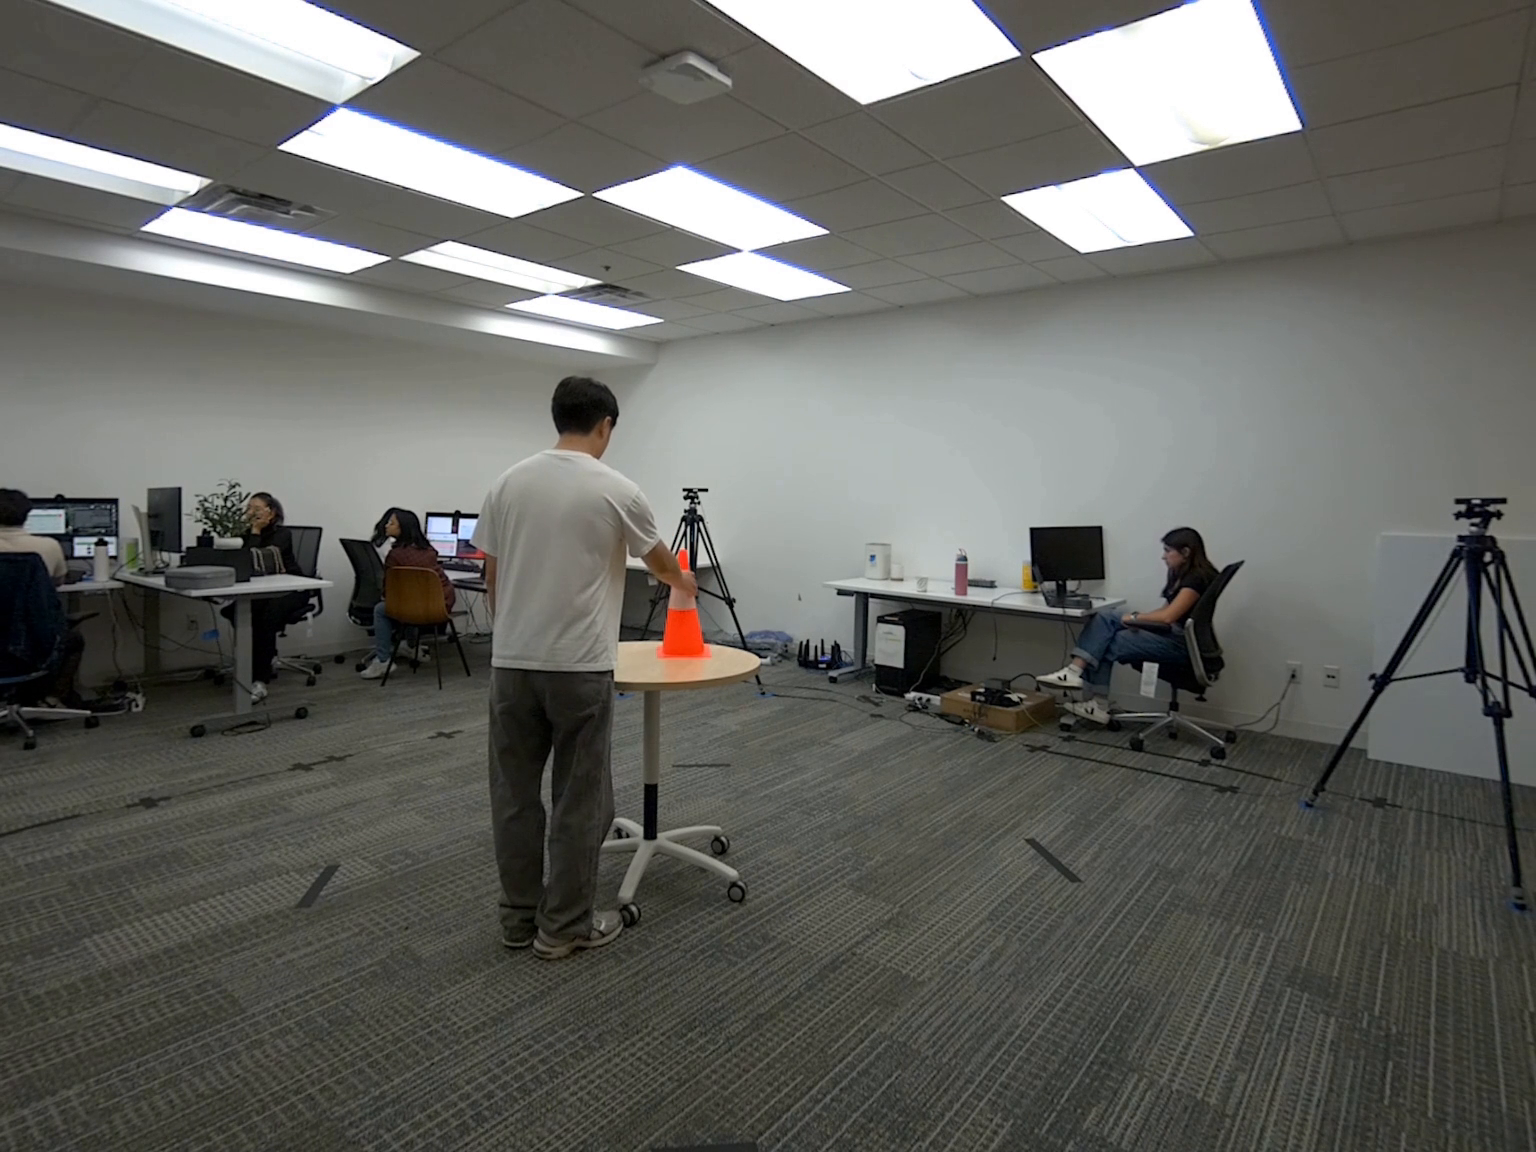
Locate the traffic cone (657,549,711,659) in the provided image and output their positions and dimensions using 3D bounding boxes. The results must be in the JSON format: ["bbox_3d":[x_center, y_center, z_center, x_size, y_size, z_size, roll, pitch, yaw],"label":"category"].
[{"bbox_3d":[-0.315,0.081,3.122,0.204,0.382,0.206,0,6,-6],"label":"traffic cone"}]
